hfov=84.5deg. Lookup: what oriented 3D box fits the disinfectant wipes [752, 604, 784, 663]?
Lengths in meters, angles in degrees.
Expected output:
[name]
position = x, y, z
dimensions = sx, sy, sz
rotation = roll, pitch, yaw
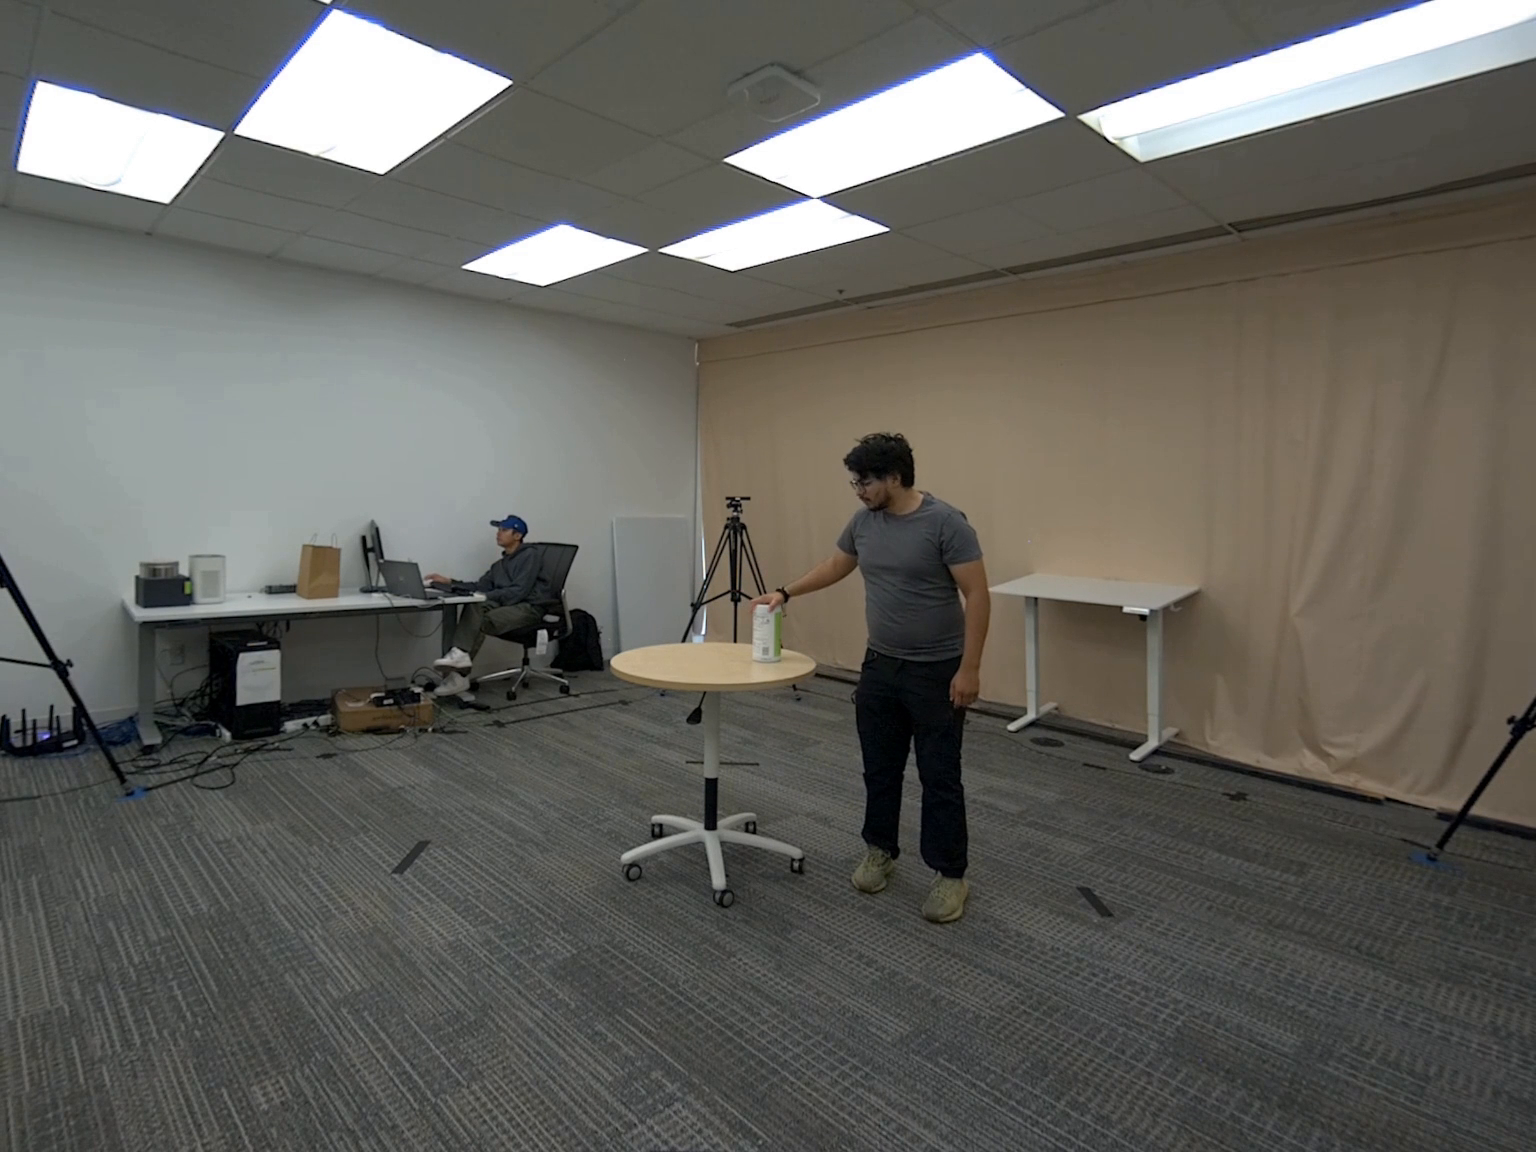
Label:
[disinfectant wipes]
position = -0.007, 0.215, 3.178
dimensions = 0.118, 0.217, 0.118
rotation = 4, 4, -2
